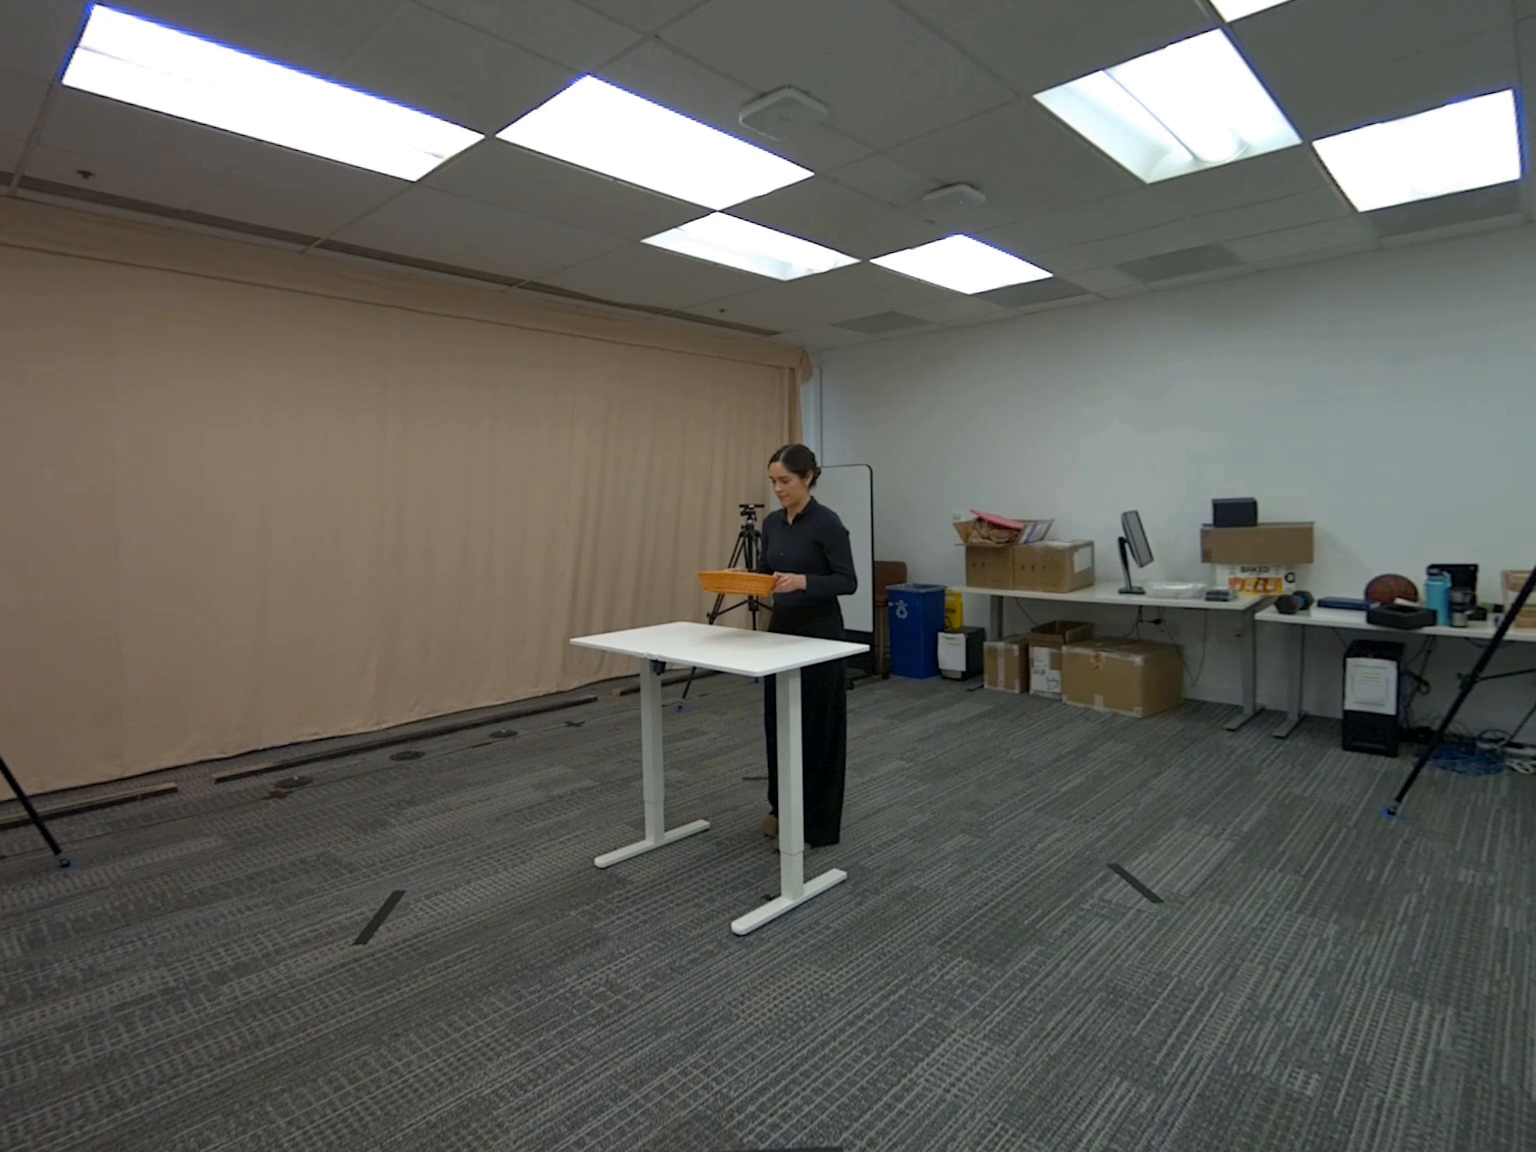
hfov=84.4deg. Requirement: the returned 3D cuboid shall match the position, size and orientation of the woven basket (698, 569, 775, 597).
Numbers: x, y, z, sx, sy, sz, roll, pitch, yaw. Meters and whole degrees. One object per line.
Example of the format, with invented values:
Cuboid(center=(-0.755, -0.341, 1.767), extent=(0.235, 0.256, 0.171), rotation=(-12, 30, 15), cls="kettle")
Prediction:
Cuboid(center=(-0.098, 0.032, 3.224), extent=(0.245, 0.073, 0.360), rotation=(5, -1, -30), cls="woven basket")
